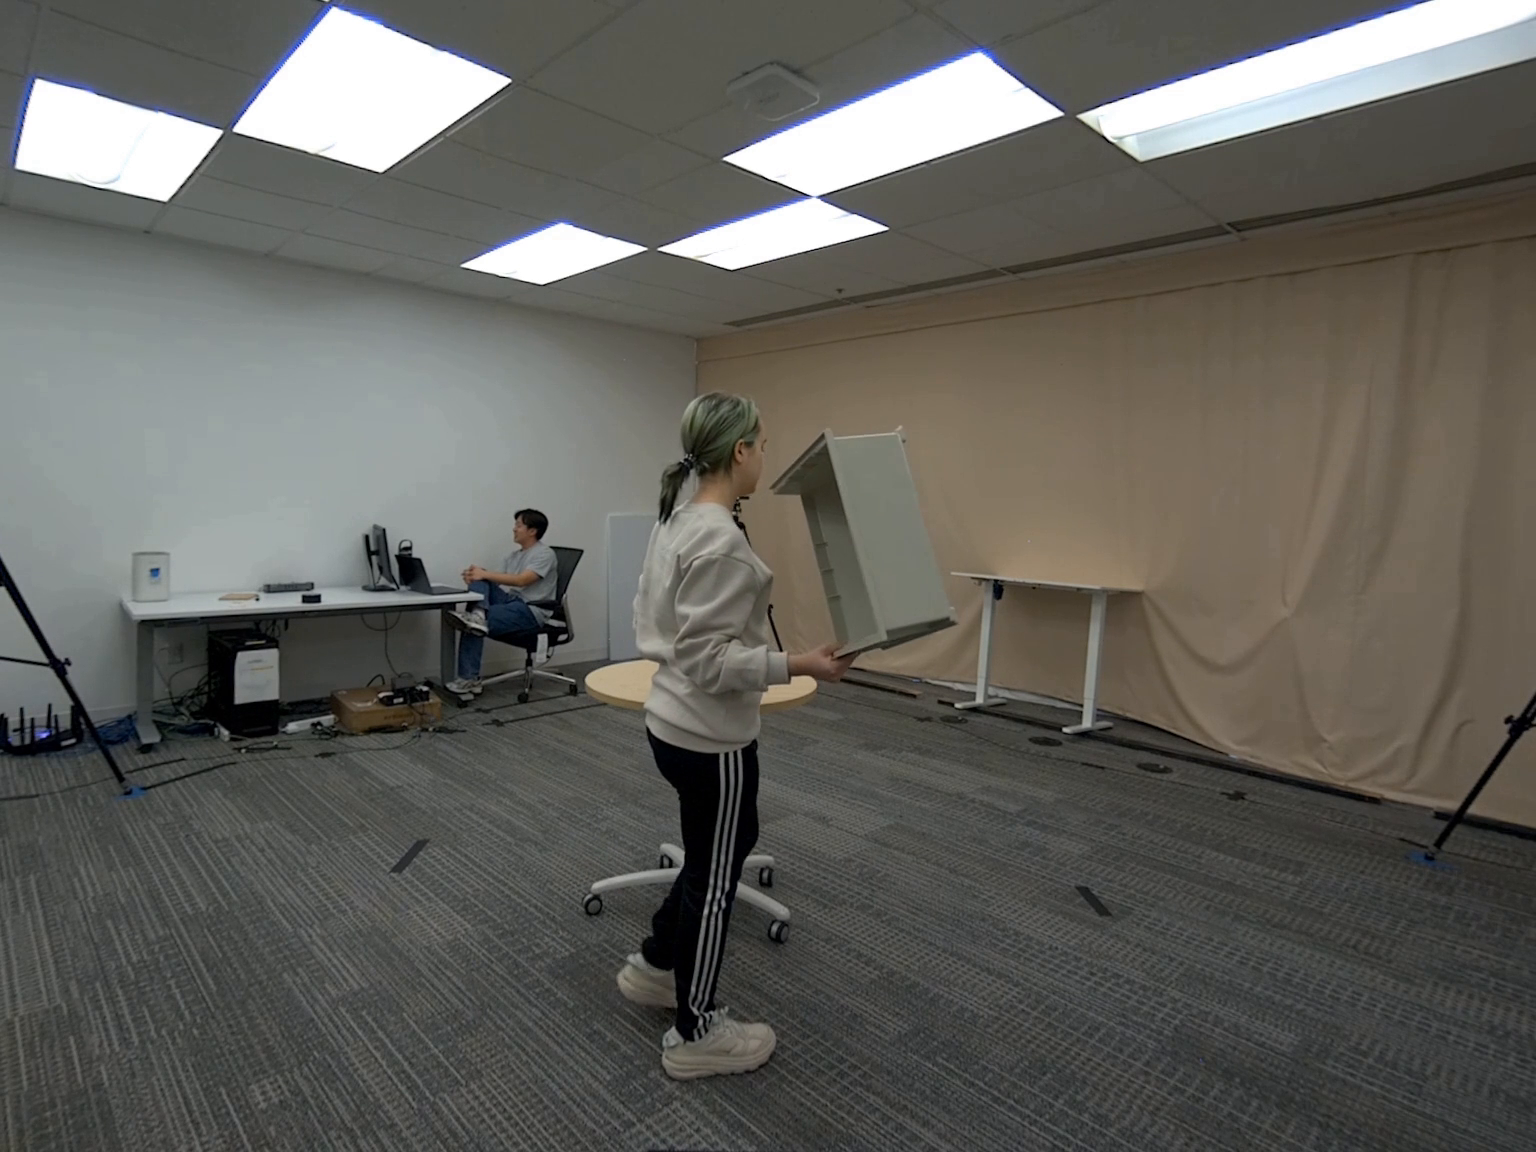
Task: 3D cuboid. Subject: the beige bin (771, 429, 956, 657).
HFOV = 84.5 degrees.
[{"bbox_3d":[0.173,-0.051,1.777,0.186,0.428,0.378,-7,-14,-21],"label":"beige bin"}]
